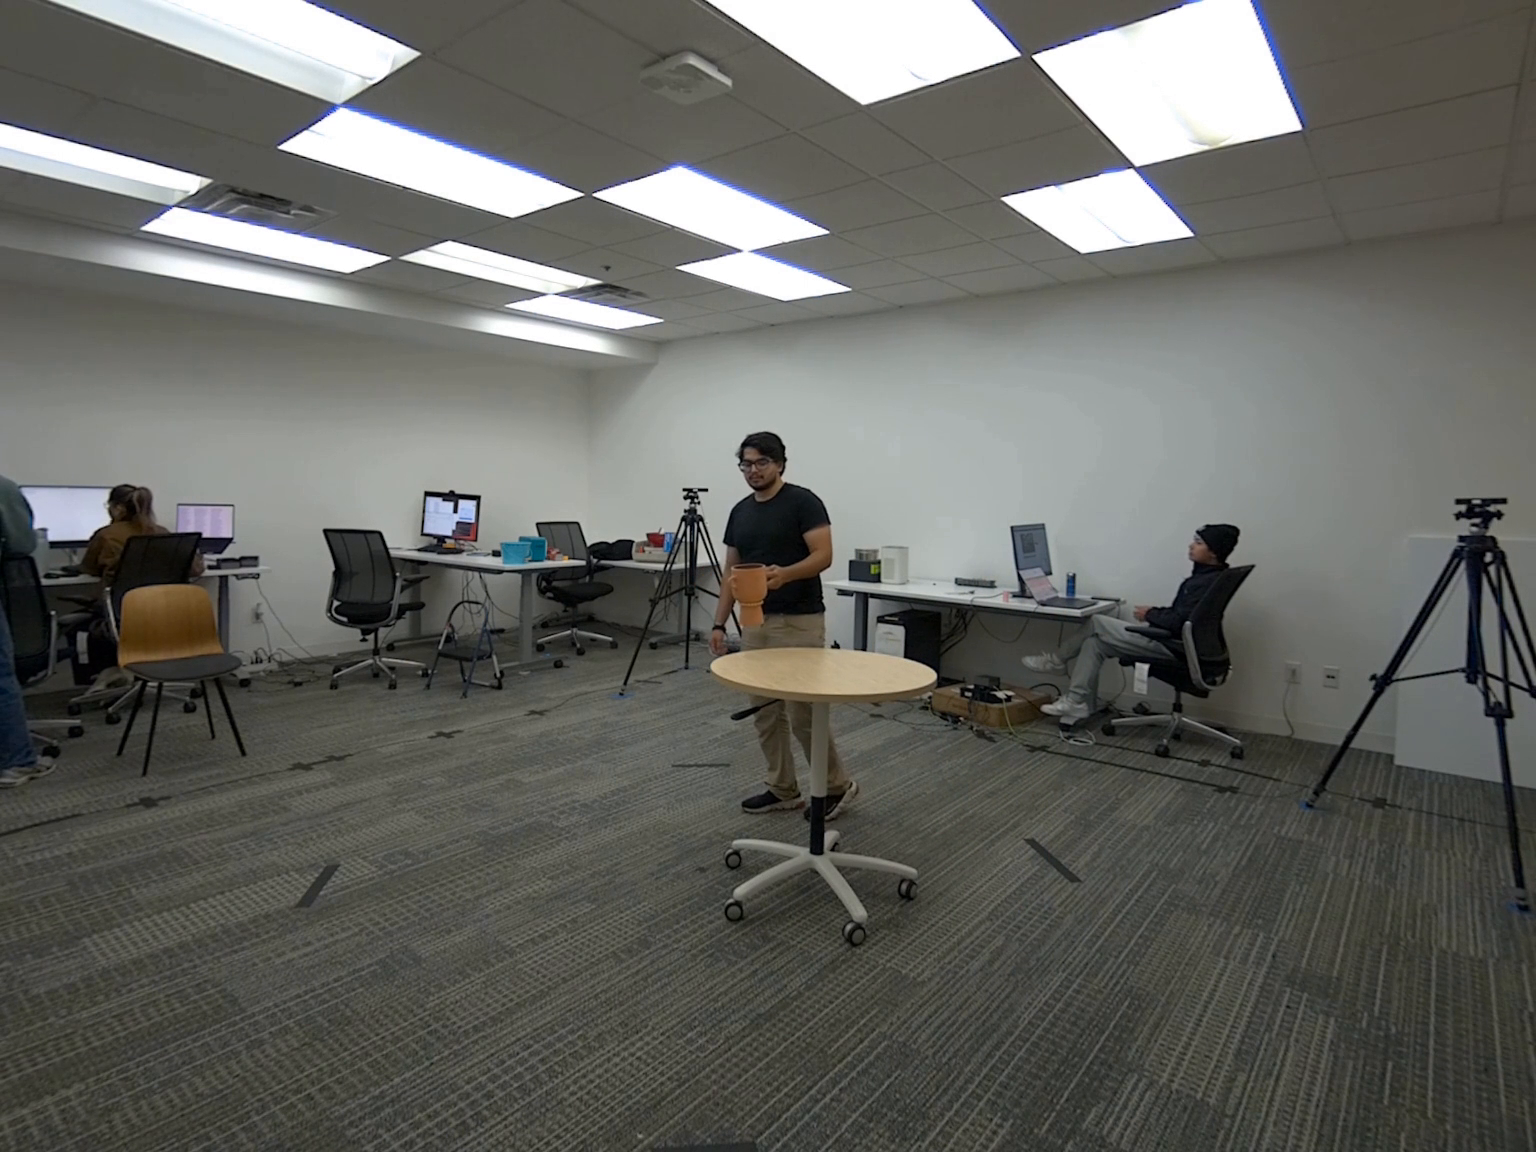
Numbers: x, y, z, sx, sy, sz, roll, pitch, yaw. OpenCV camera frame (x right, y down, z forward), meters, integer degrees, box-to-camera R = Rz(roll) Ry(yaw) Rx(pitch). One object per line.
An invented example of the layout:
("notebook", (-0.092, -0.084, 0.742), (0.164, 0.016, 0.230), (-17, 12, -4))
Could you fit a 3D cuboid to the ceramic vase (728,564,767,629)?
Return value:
("ceramic vase", (-0.075, 0.068, 3.265), (0.159, 0.218, 0.135), (-1, 9, 4))
